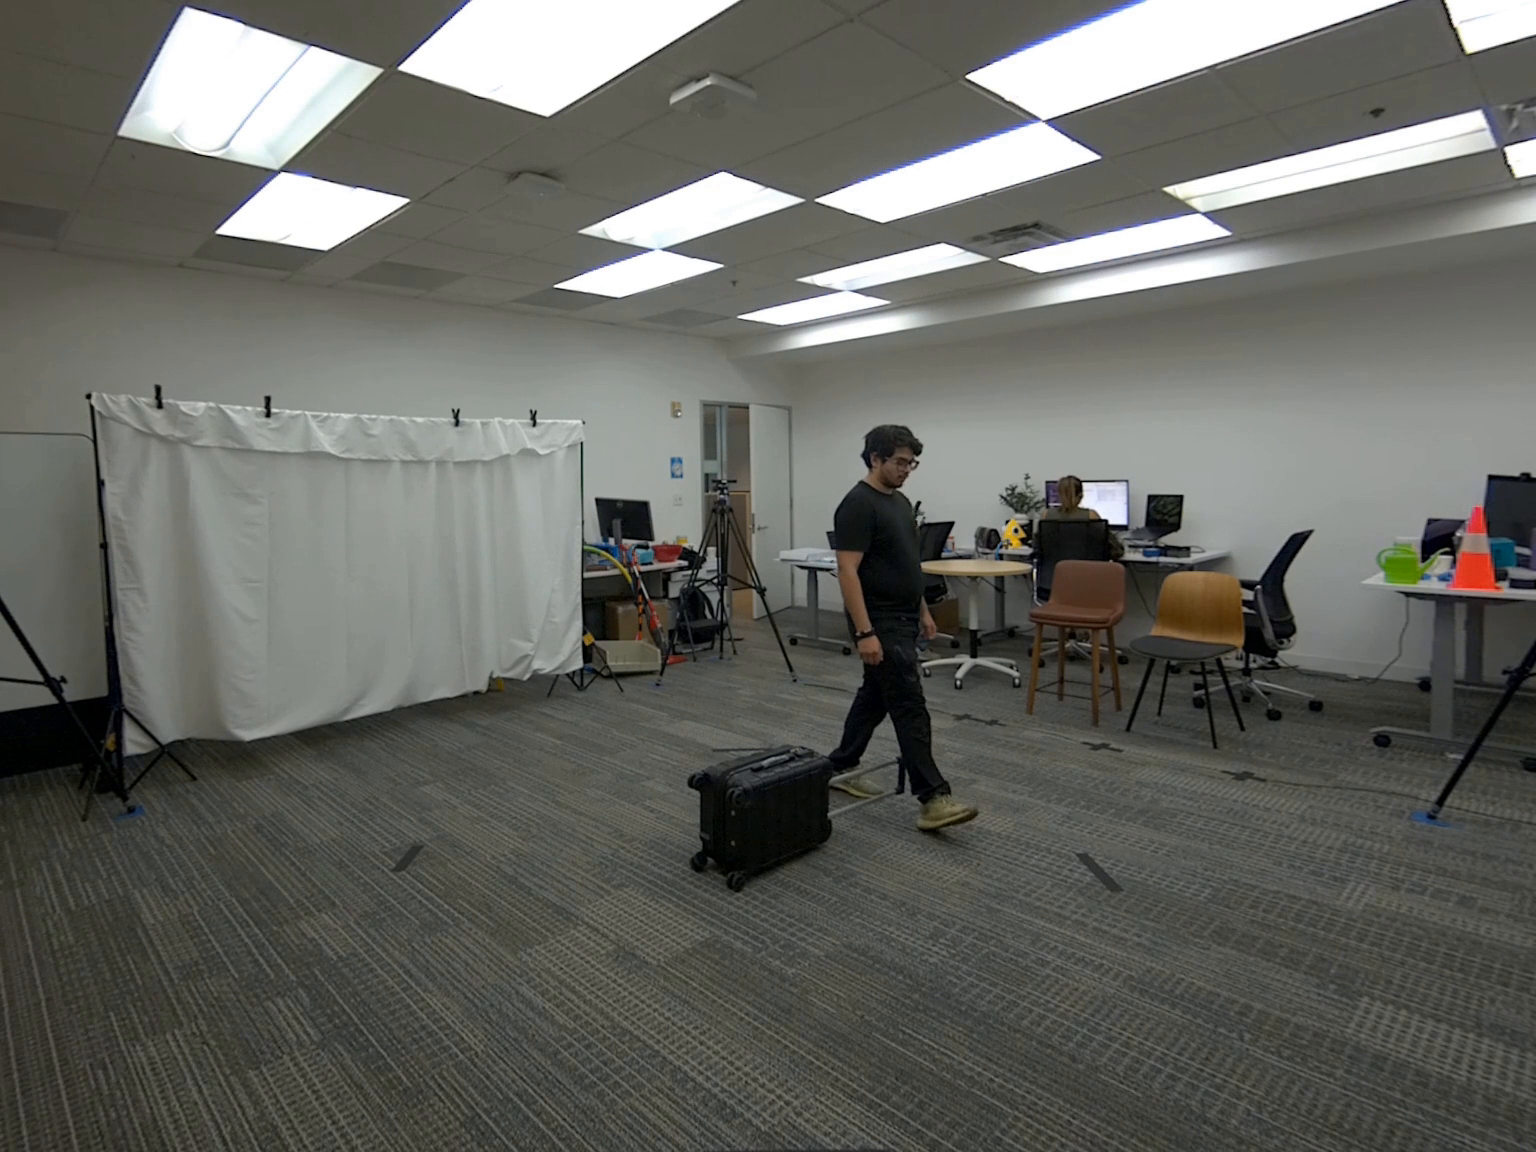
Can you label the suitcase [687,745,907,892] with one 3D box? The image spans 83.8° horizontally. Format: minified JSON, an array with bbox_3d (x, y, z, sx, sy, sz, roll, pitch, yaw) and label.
[{"bbox_3d":[0.133,0.837,3.293,0.953,0.382,0.265,-6,7,-45],"label":"suitcase"}]
